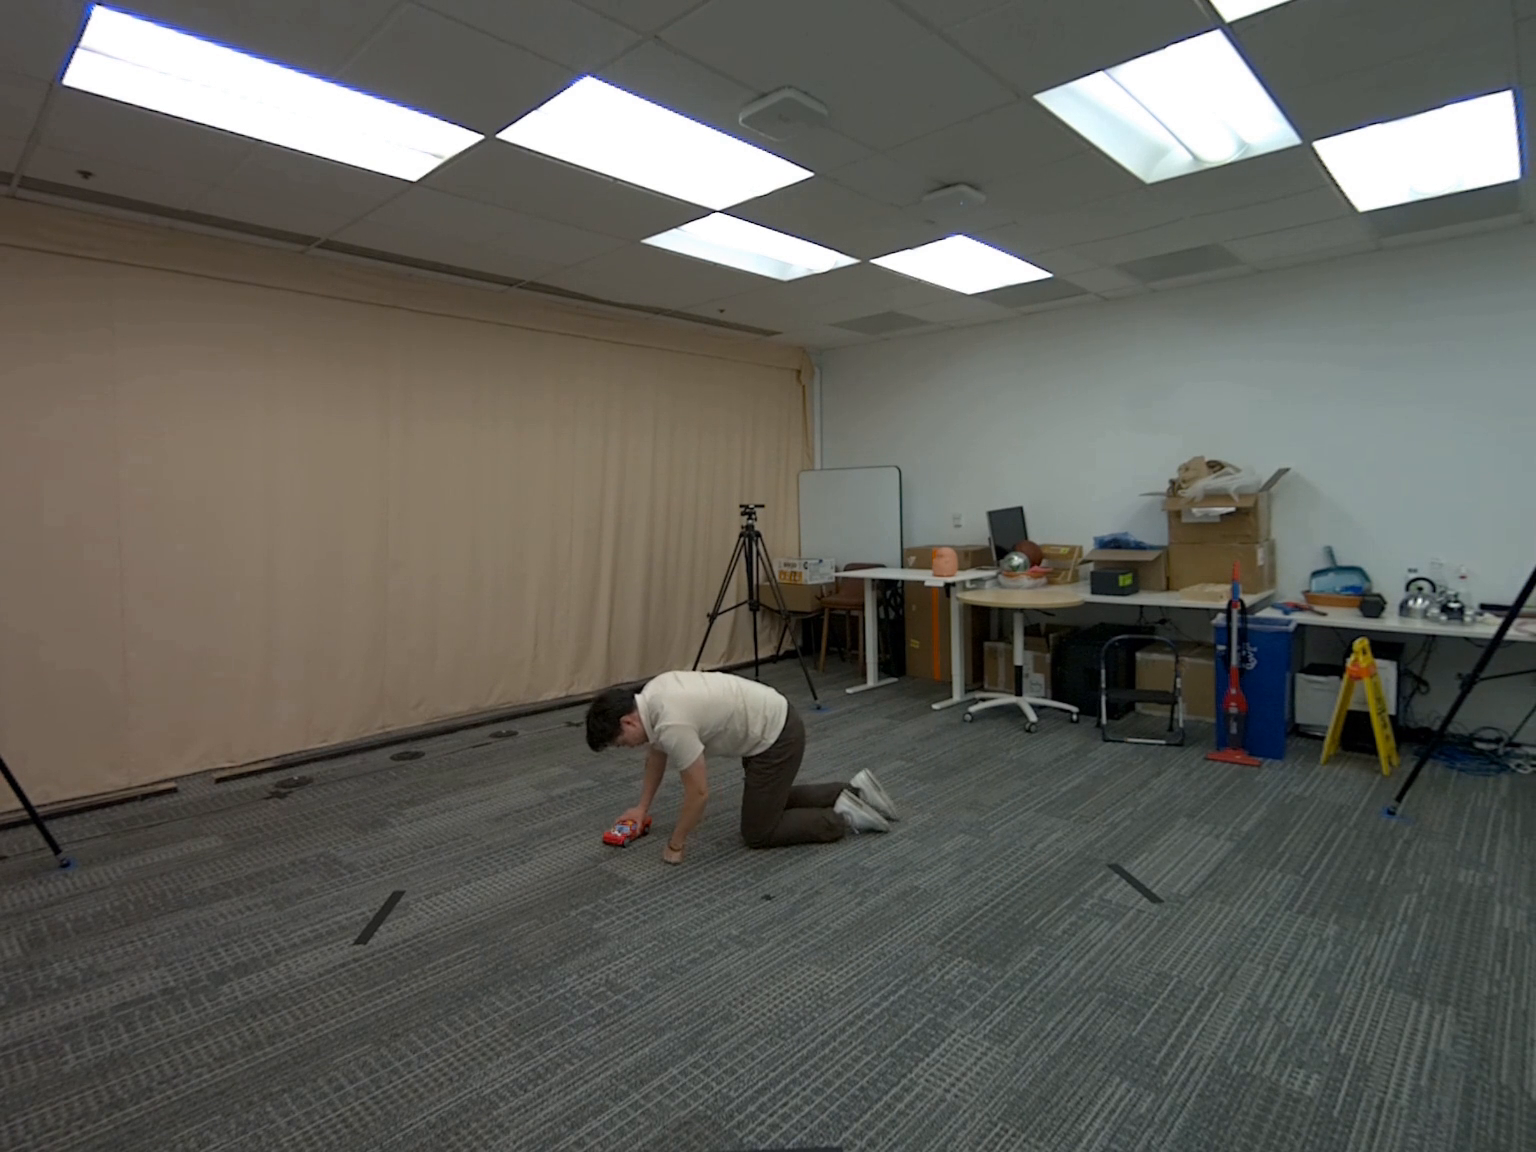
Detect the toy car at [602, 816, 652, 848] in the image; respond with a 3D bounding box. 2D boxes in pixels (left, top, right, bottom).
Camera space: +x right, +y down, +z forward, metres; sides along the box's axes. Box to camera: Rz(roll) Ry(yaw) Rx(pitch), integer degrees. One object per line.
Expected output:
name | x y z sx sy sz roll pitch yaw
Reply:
toy car | -0.588 1.080 3.567 0.134 0.082 0.250 0 15 27
